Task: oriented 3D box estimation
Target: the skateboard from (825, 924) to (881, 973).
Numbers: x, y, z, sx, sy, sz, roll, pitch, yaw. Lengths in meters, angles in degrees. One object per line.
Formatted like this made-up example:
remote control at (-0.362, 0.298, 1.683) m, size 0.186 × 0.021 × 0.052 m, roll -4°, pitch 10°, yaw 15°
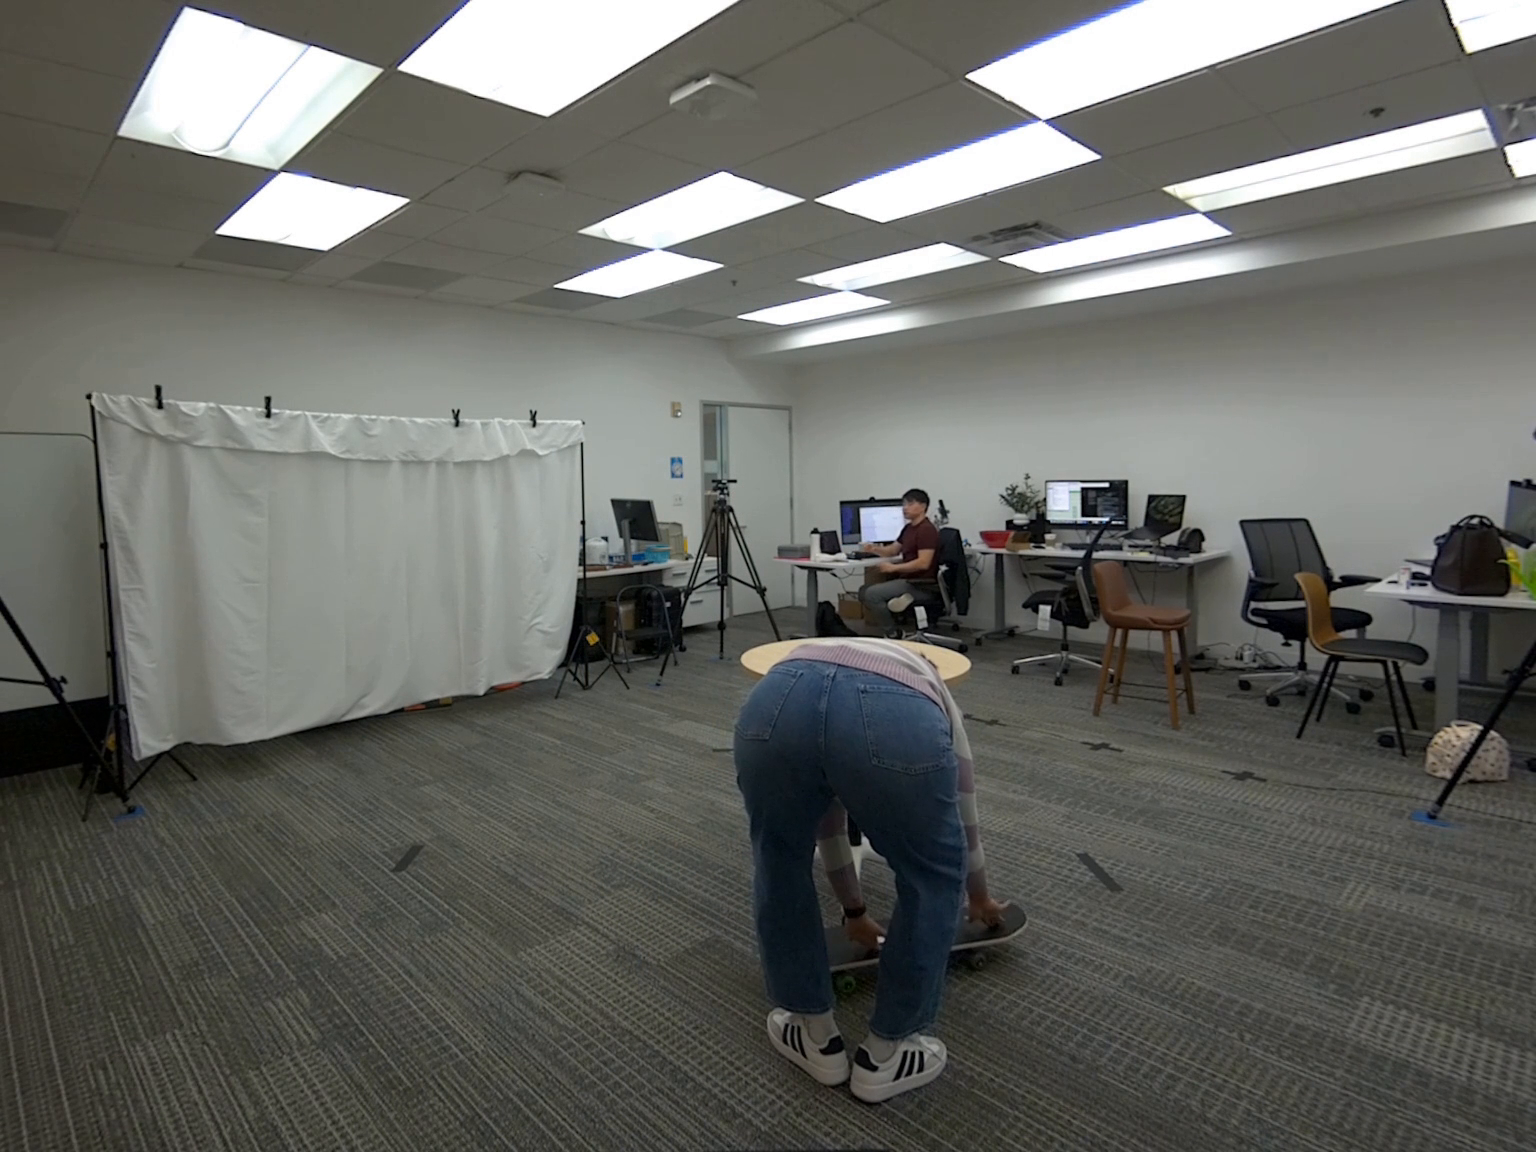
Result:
skateboard at (0.385, 1.060, 2.443) m, size 0.775 × 0.110 × 0.196 m, roll -3°, pitch 5°, yaw -14°
